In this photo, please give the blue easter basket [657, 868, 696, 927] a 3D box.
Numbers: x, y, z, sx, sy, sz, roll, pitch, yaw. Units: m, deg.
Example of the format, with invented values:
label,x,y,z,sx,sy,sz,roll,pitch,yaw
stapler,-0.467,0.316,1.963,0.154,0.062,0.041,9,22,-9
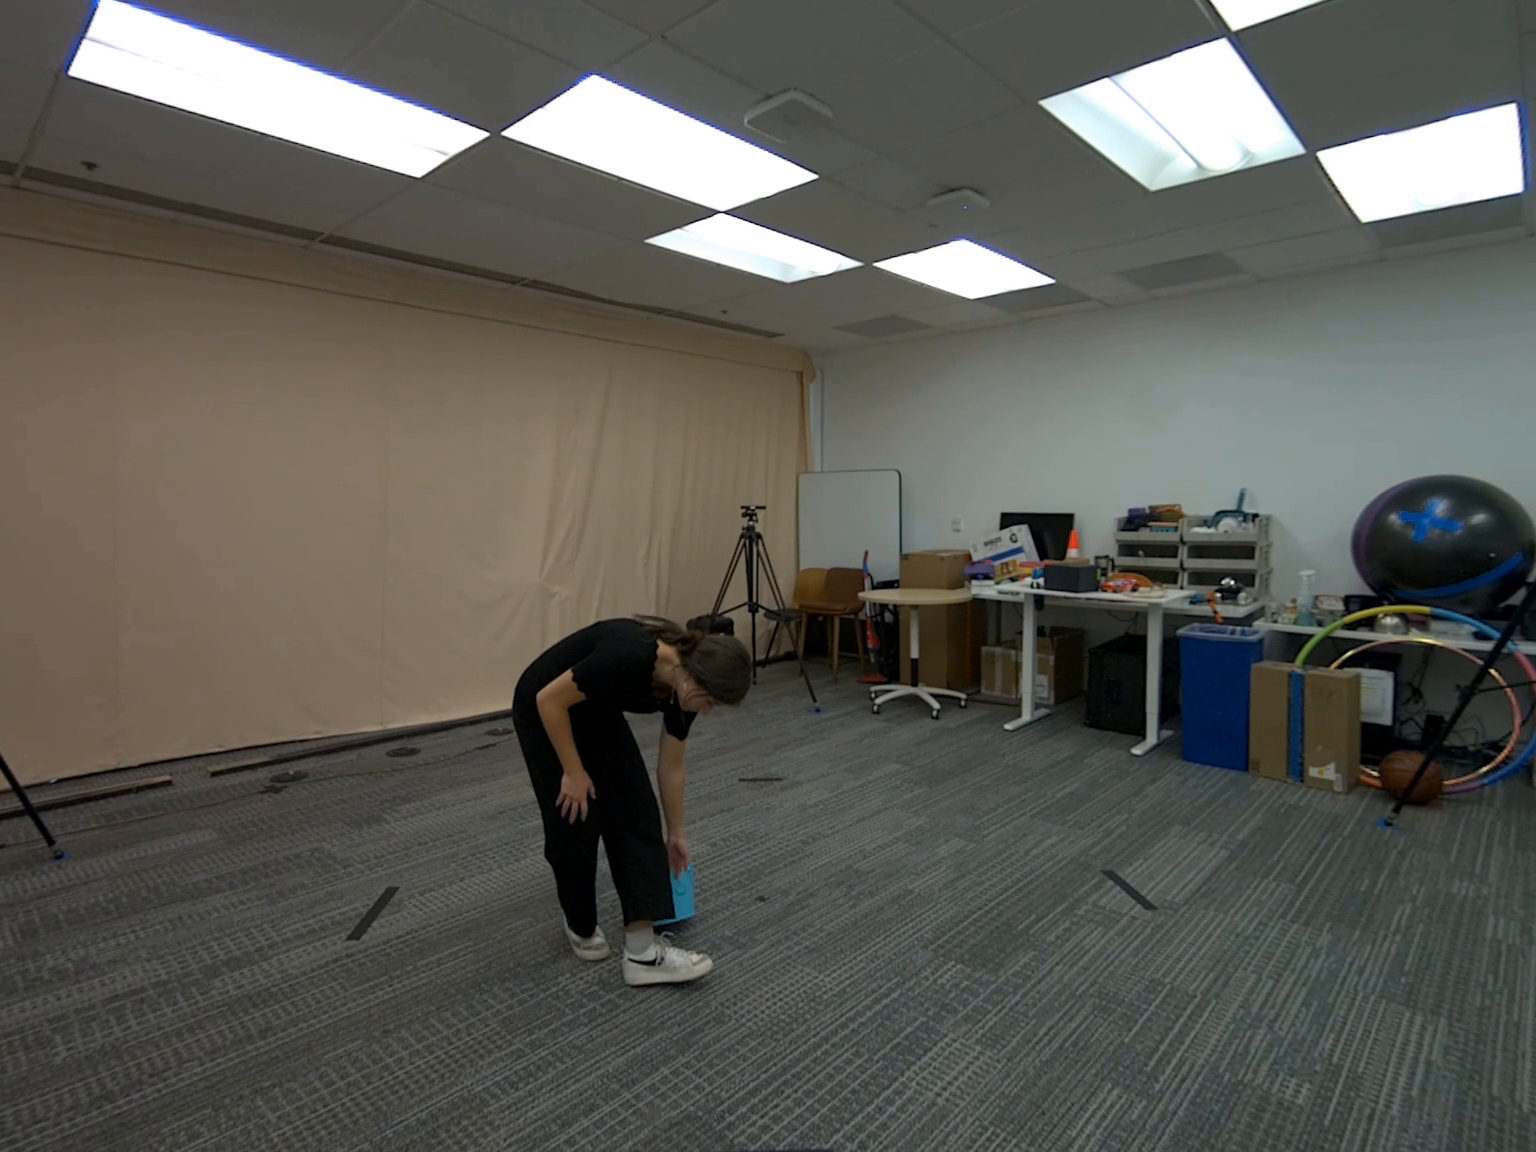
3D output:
label,x,y,z,sx,sy,sz,roll,pitch,yaw
blue easter basket,-0.351,1.064,2.795,0.243,0.157,0.242,-11,-12,-4
